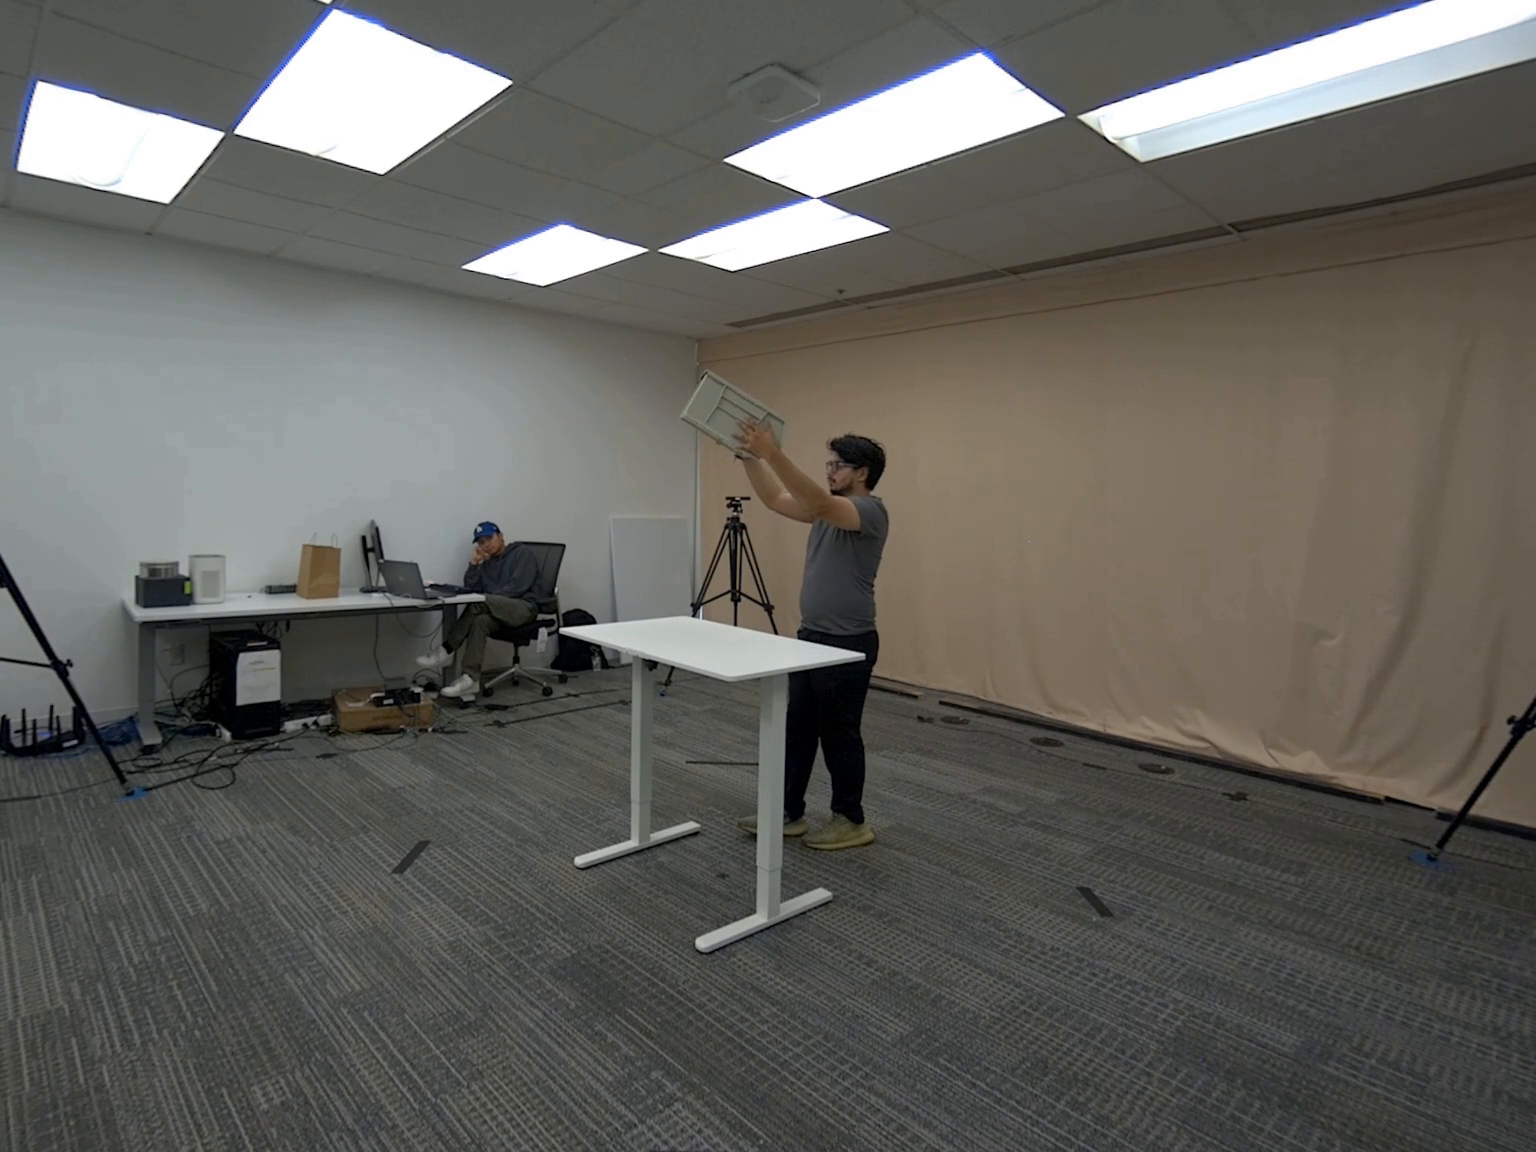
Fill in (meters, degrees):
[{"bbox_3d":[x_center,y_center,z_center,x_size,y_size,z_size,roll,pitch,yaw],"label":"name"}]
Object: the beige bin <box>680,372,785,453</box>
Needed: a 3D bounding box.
[{"bbox_3d":[-0.147,-0.594,3.214,0.373,0.189,0.427,30,4,-11],"label":"beige bin"}]
